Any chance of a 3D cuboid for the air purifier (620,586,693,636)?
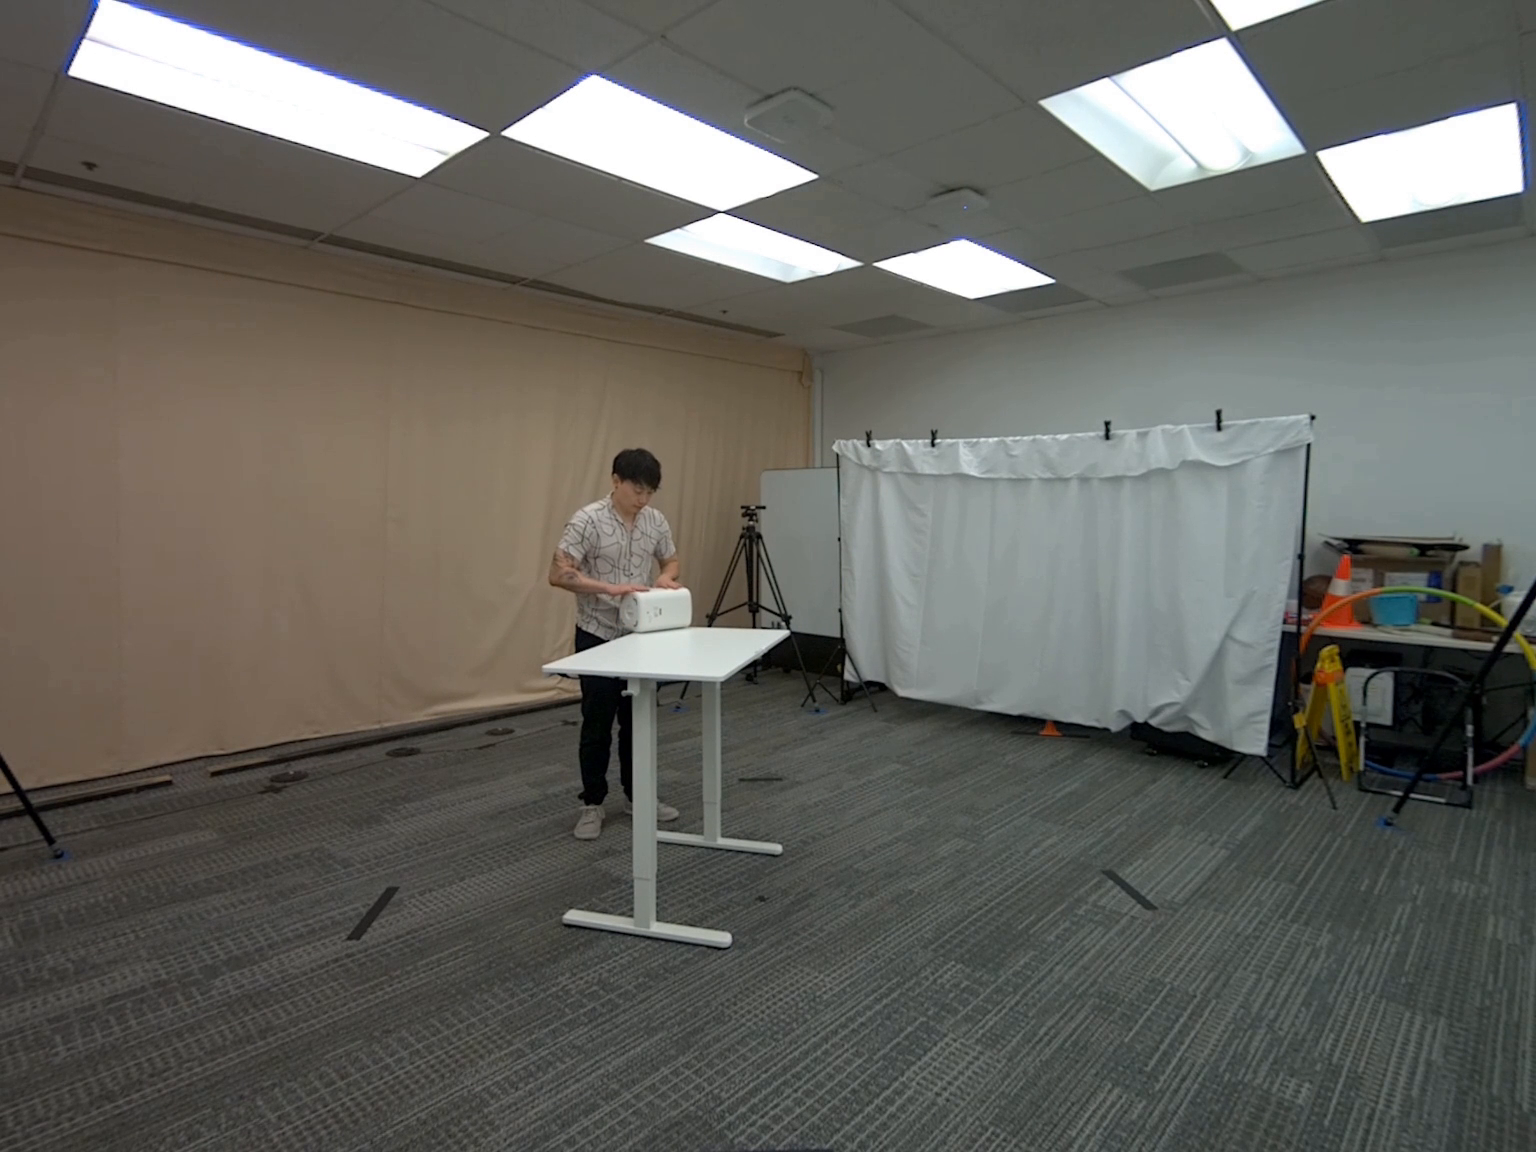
[{"bbox_3d":[-0.470,0.135,3.502,0.257,0.170,0.177,-4,6,-43],"label":"air purifier"}]
